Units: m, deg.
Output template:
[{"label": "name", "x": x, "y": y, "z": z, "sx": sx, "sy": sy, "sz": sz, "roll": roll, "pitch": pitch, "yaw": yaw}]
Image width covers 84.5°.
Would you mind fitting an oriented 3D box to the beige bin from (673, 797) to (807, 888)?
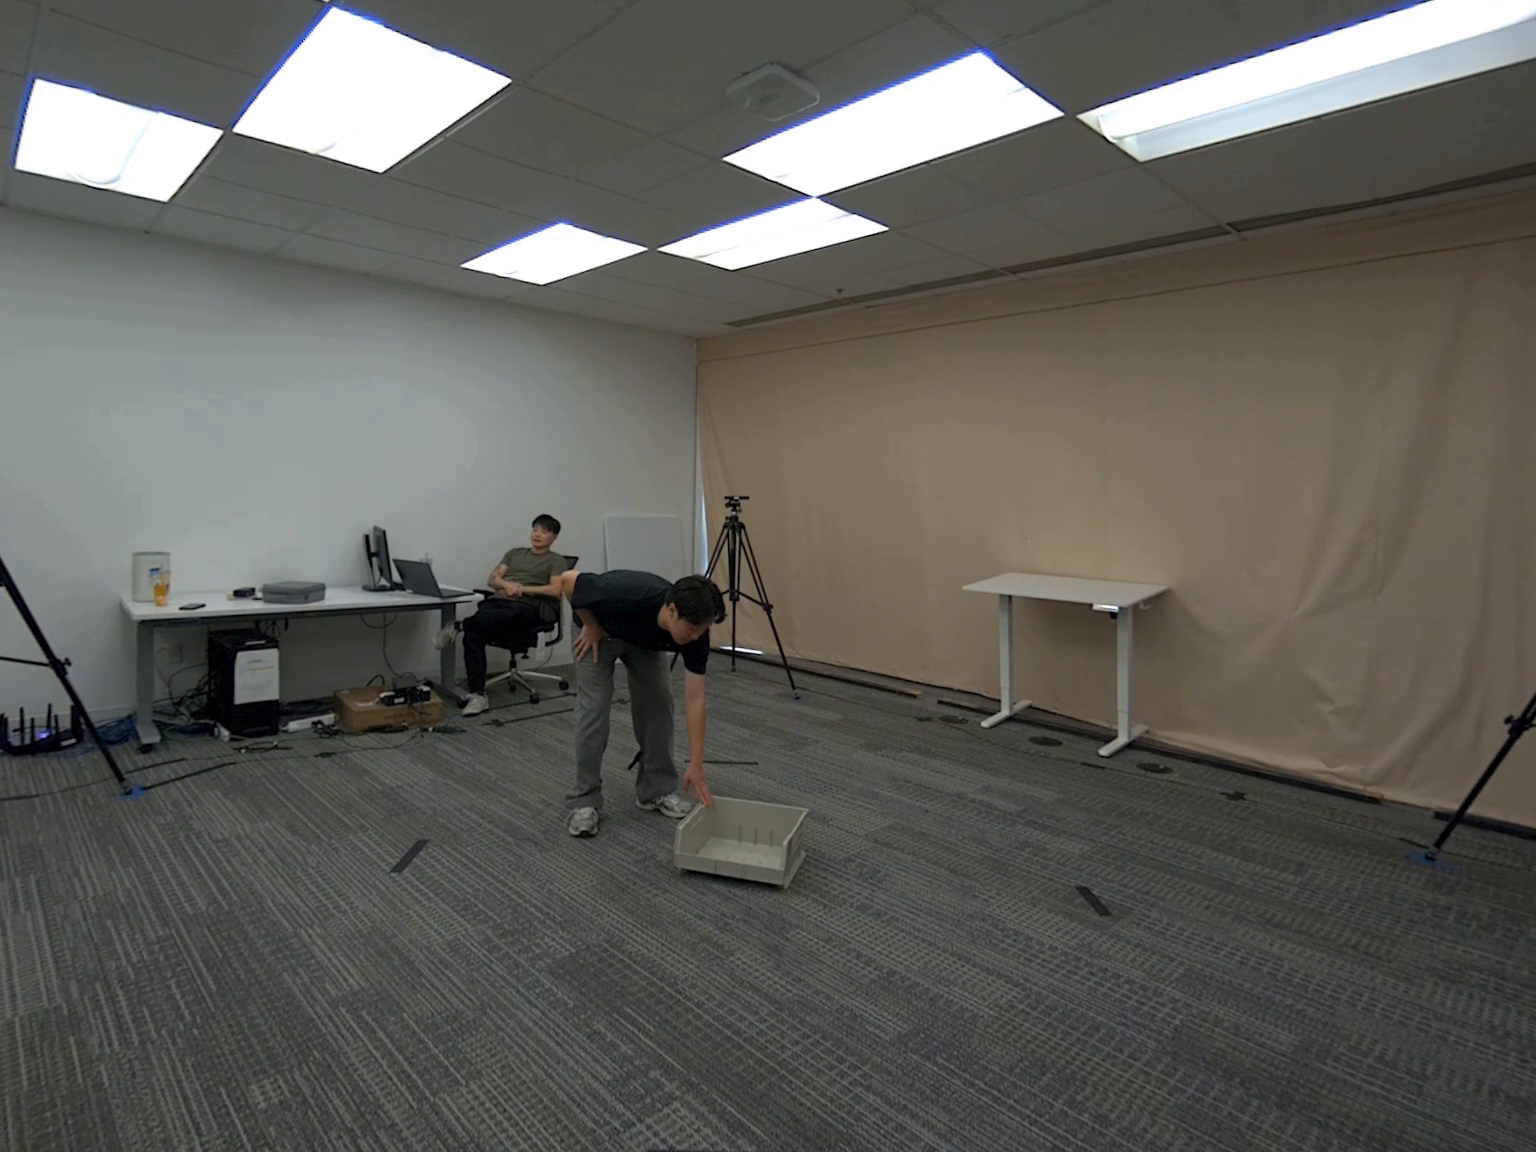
[{"label": "beige bin", "x": -0.097, "y": 1.010, "z": 3.188, "sx": 0.428, "sy": 0.188, "sz": 0.373, "roll": 2, "pitch": 4, "yaw": 16}]
